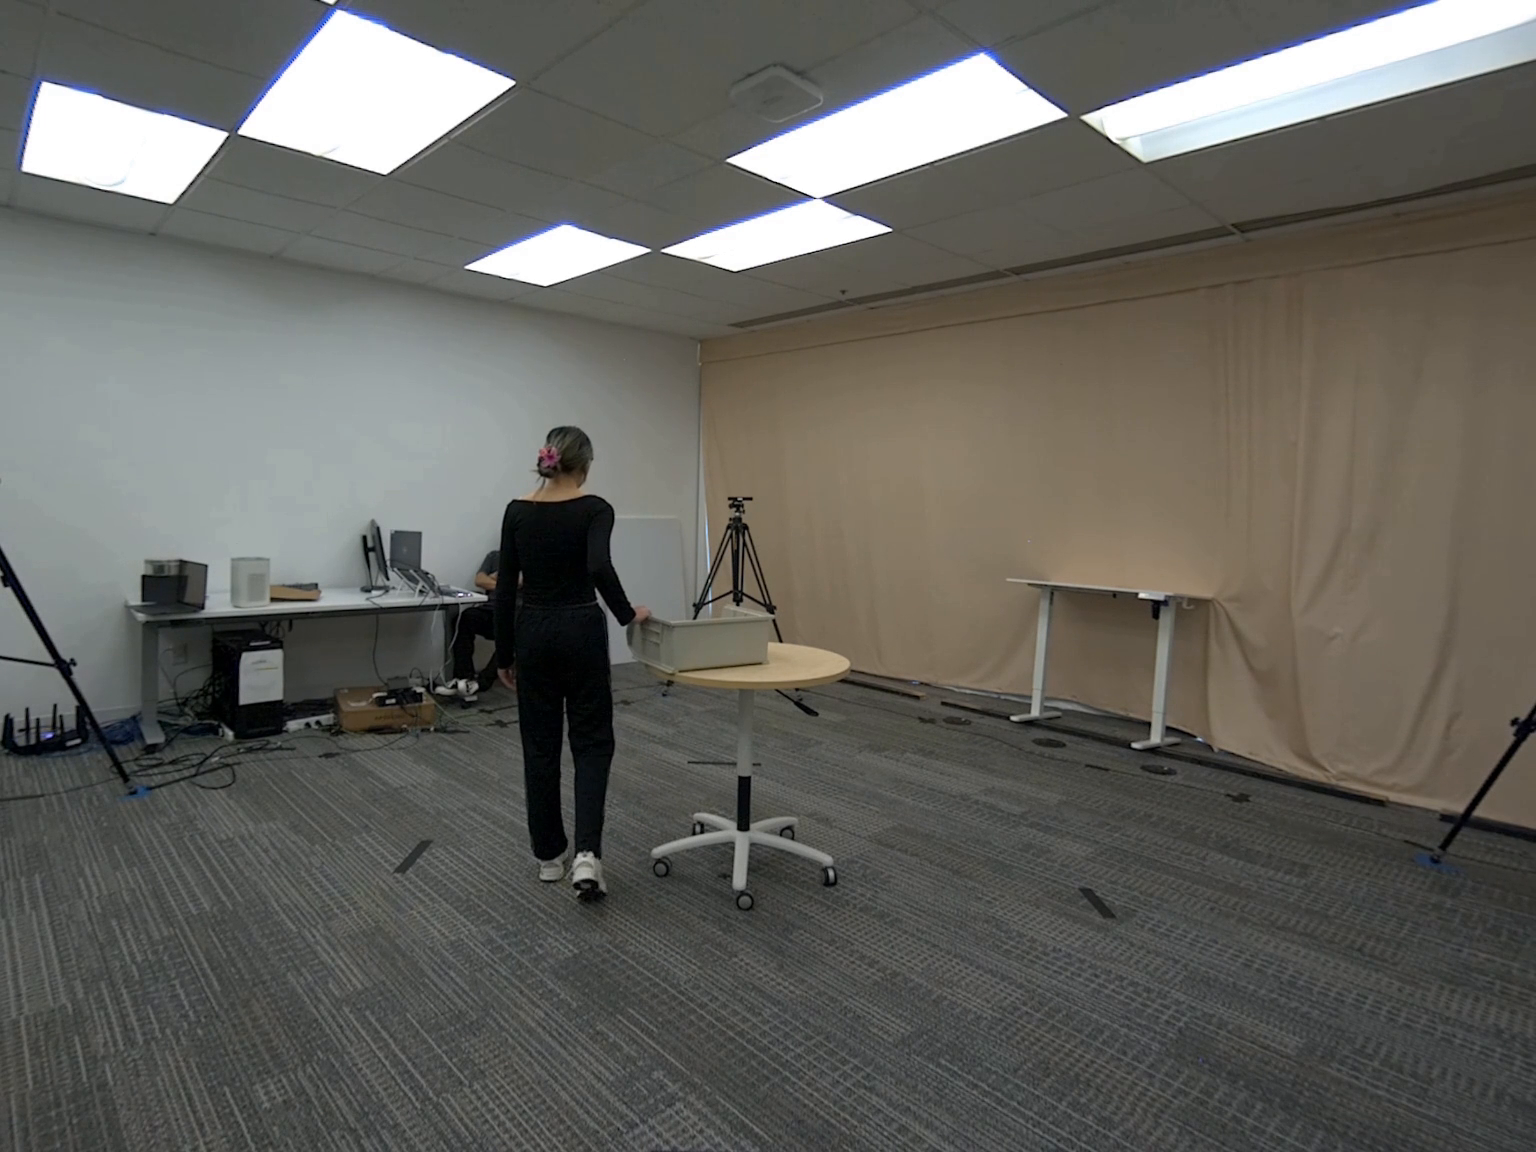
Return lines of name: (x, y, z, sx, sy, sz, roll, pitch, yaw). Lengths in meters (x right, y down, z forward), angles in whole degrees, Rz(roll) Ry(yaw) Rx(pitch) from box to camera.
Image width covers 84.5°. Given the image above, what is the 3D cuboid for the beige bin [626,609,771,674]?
beige bin: (-0.261, 0.218, 3.106, 0.413, 0.188, 0.387, -1, 8, -33)
